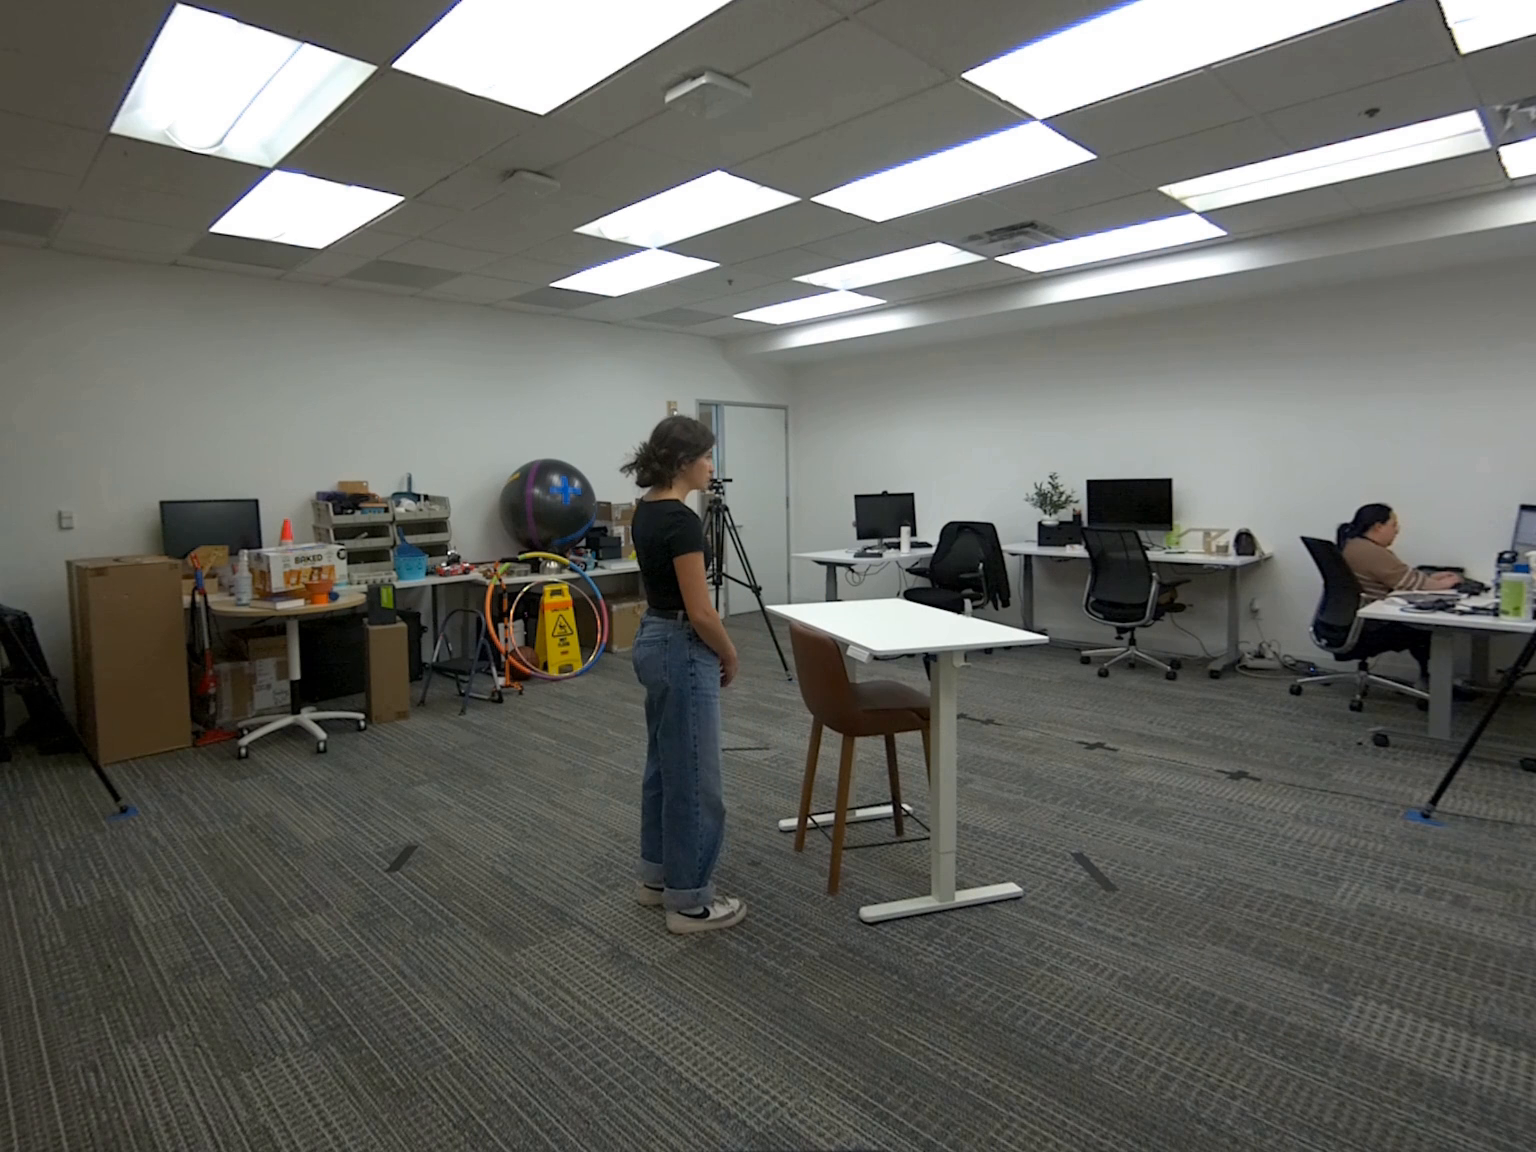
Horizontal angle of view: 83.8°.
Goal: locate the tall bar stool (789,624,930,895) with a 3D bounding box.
[{"bbox_3d":[0.350,0.610,3.069,0.462,0.886,0.464,-4,5,-15],"label":"tall bar stool"}]
